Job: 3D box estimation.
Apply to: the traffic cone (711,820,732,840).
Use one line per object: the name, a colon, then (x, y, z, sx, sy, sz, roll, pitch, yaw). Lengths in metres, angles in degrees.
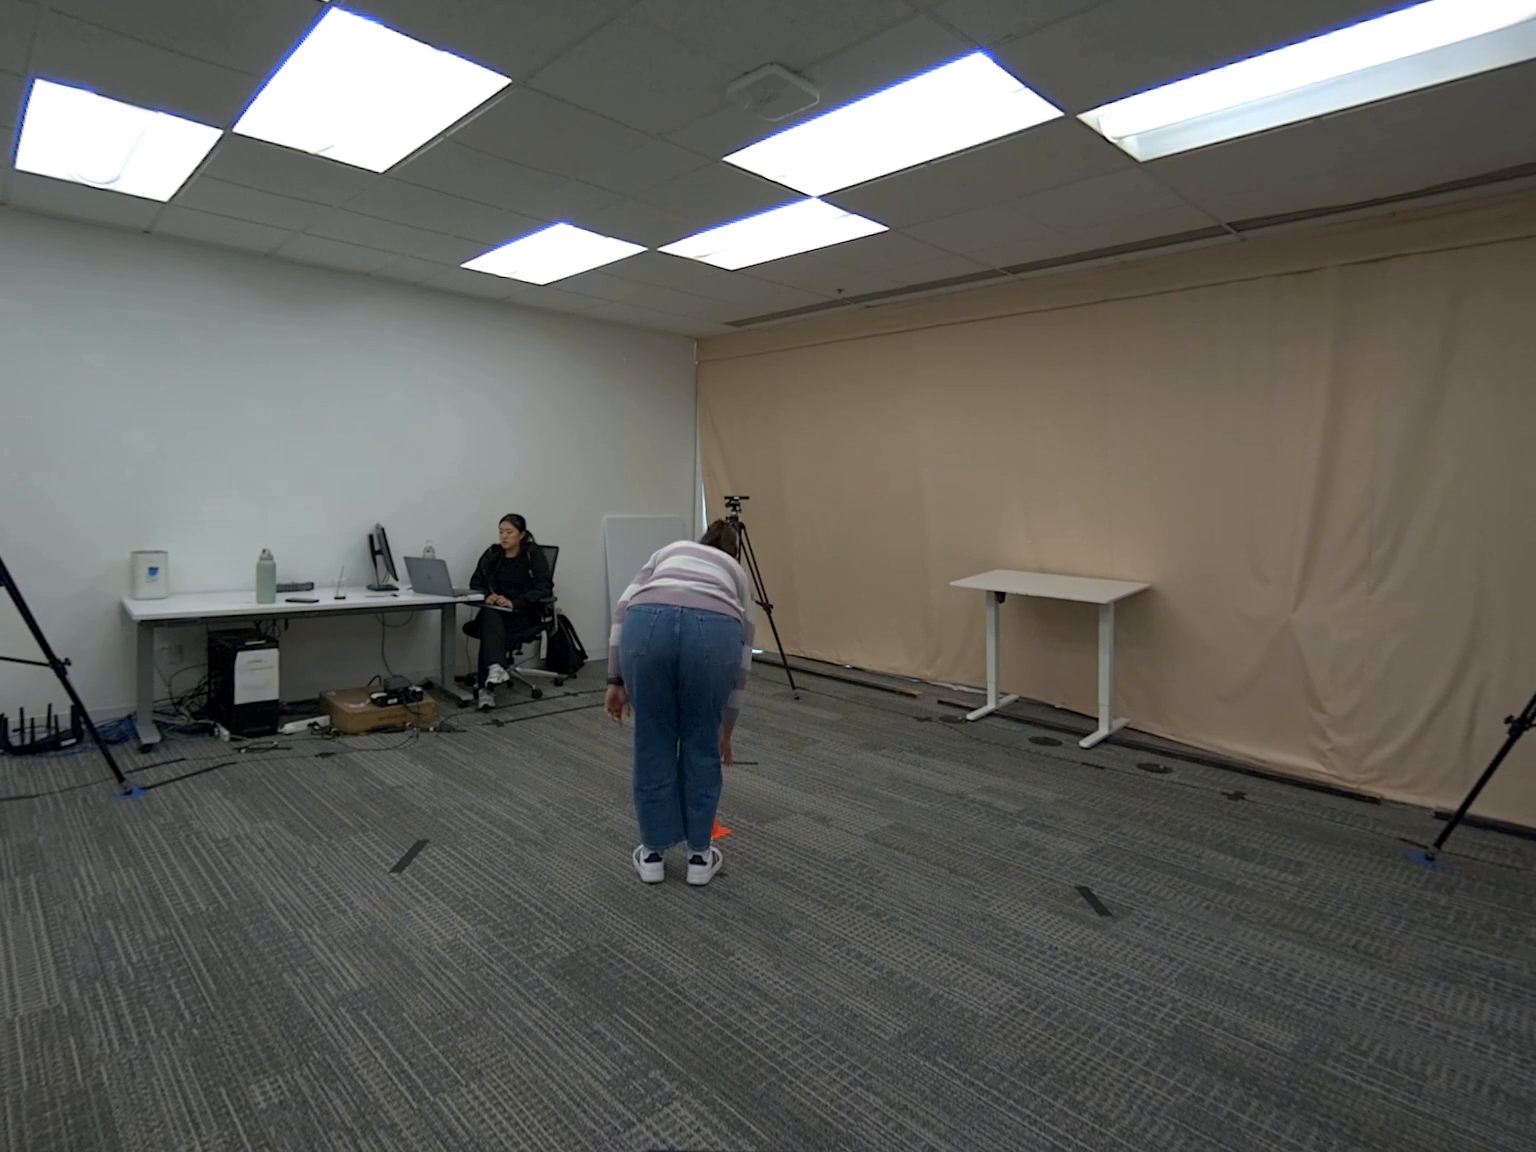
traffic cone: (-0.287, 0.881, 3.505, 0.210, 0.383, 0.199, 5, 4, 42)
